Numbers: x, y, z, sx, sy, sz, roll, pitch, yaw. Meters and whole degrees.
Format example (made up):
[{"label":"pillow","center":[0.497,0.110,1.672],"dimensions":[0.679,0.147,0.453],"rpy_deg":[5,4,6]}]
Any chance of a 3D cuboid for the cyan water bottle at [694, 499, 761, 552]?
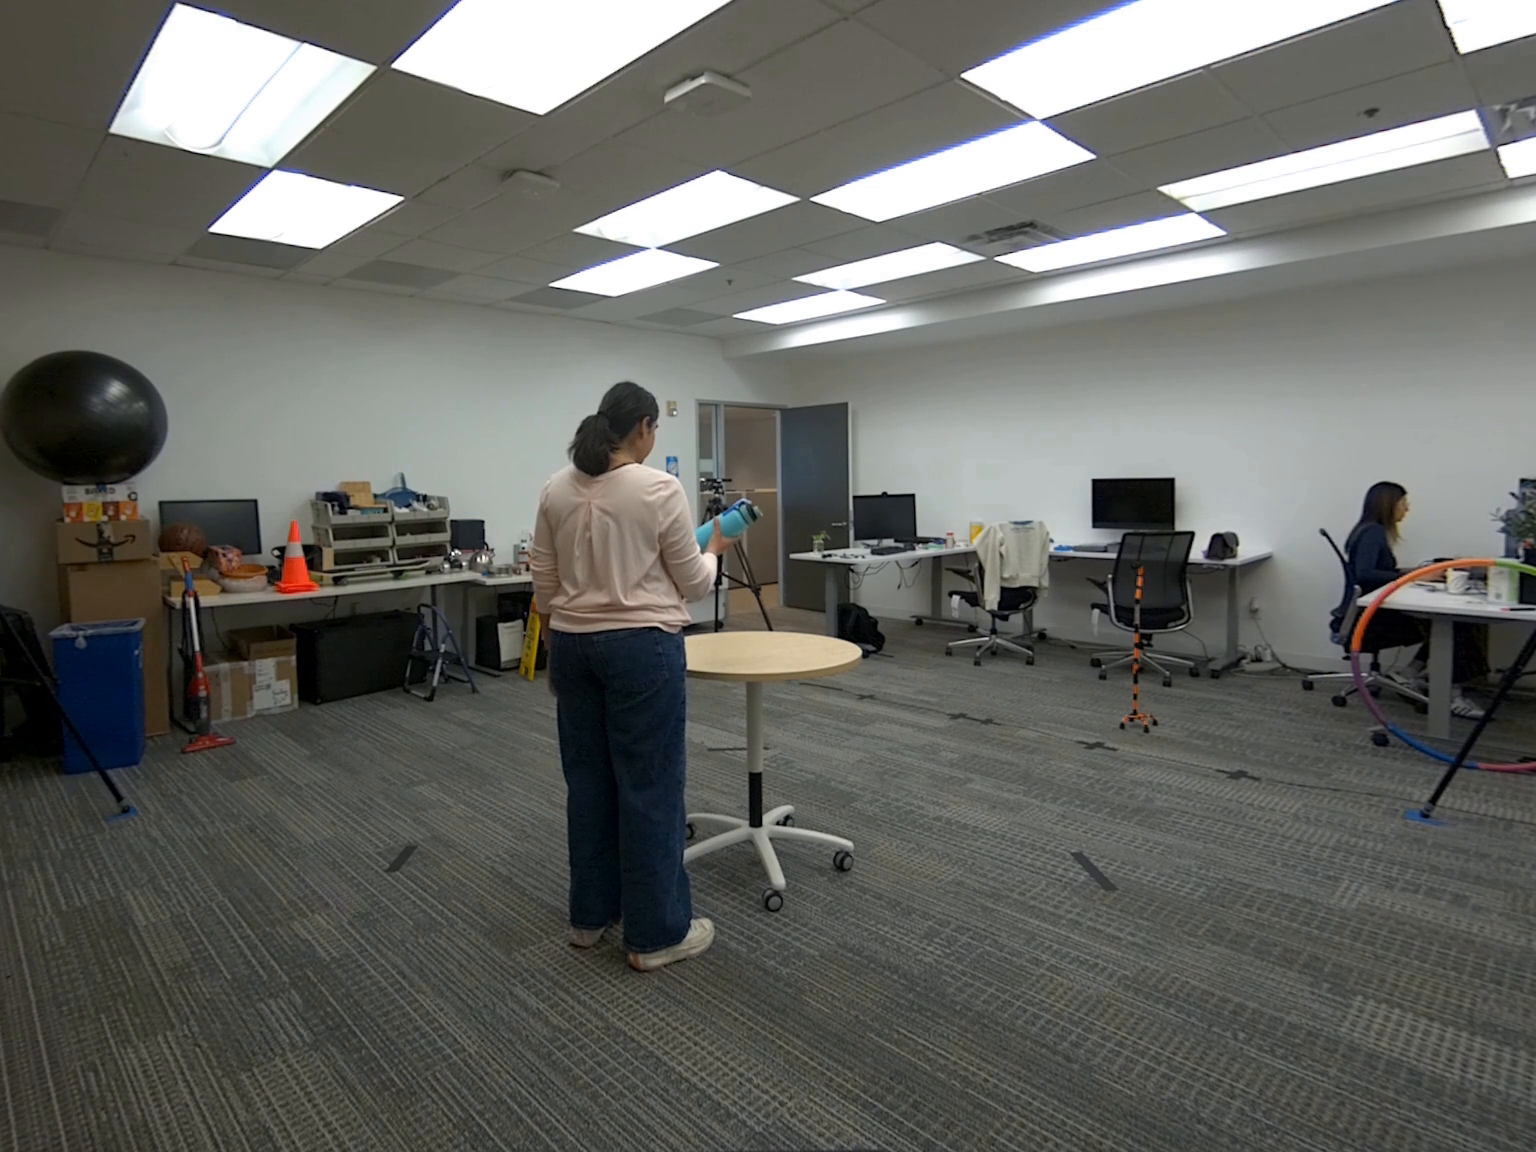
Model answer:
[{"label":"cyan water bottle","center":[-0.158,-0.149,2.793],"dimensions":[0.284,0.092,0.092],"rpy_deg":[-32,2,7]}]
